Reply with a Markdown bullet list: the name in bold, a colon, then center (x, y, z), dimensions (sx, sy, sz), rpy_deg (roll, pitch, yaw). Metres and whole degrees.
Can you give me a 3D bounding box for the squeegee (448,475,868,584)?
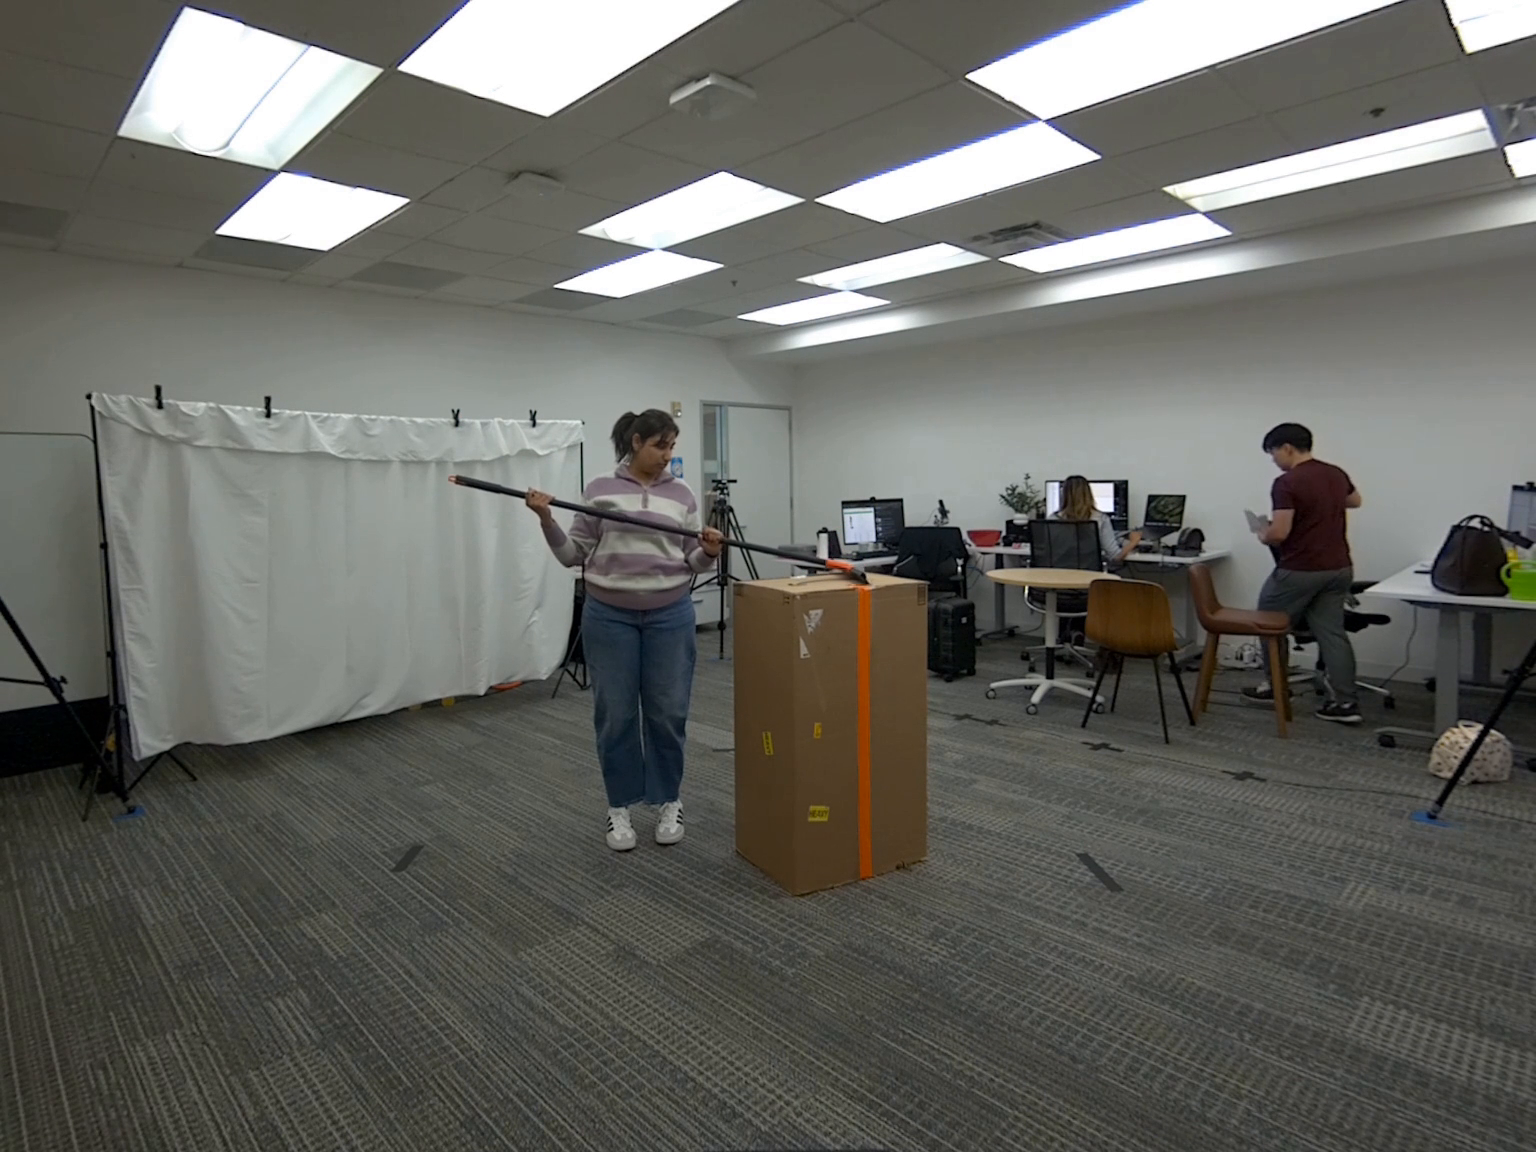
- **squeegee**: center (-0.396, -0.186, 3.131), dimensions (1.533, 0.053, 0.438), rpy_deg (14, 1, -3)
